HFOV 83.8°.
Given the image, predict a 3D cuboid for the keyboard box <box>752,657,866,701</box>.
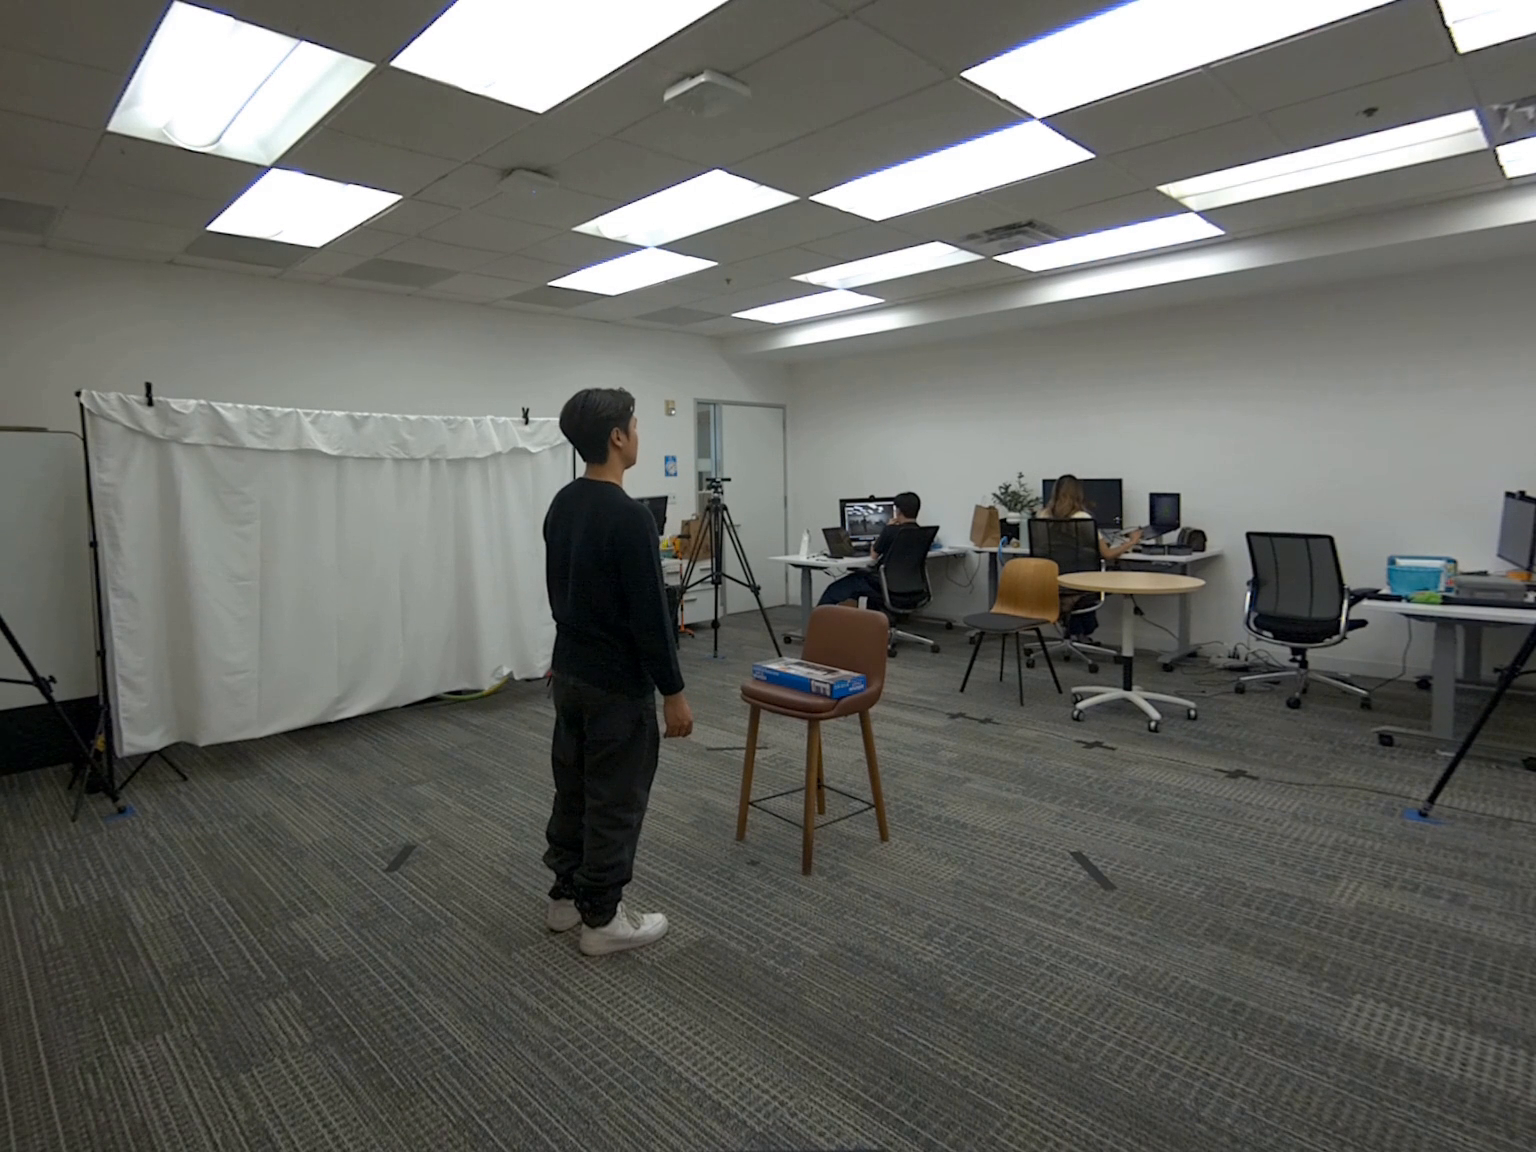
[{"bbox_3d":[0.149,0.378,3.232,0.171,0.059,0.450,-7,9,-39],"label":"keyboard box"}]
